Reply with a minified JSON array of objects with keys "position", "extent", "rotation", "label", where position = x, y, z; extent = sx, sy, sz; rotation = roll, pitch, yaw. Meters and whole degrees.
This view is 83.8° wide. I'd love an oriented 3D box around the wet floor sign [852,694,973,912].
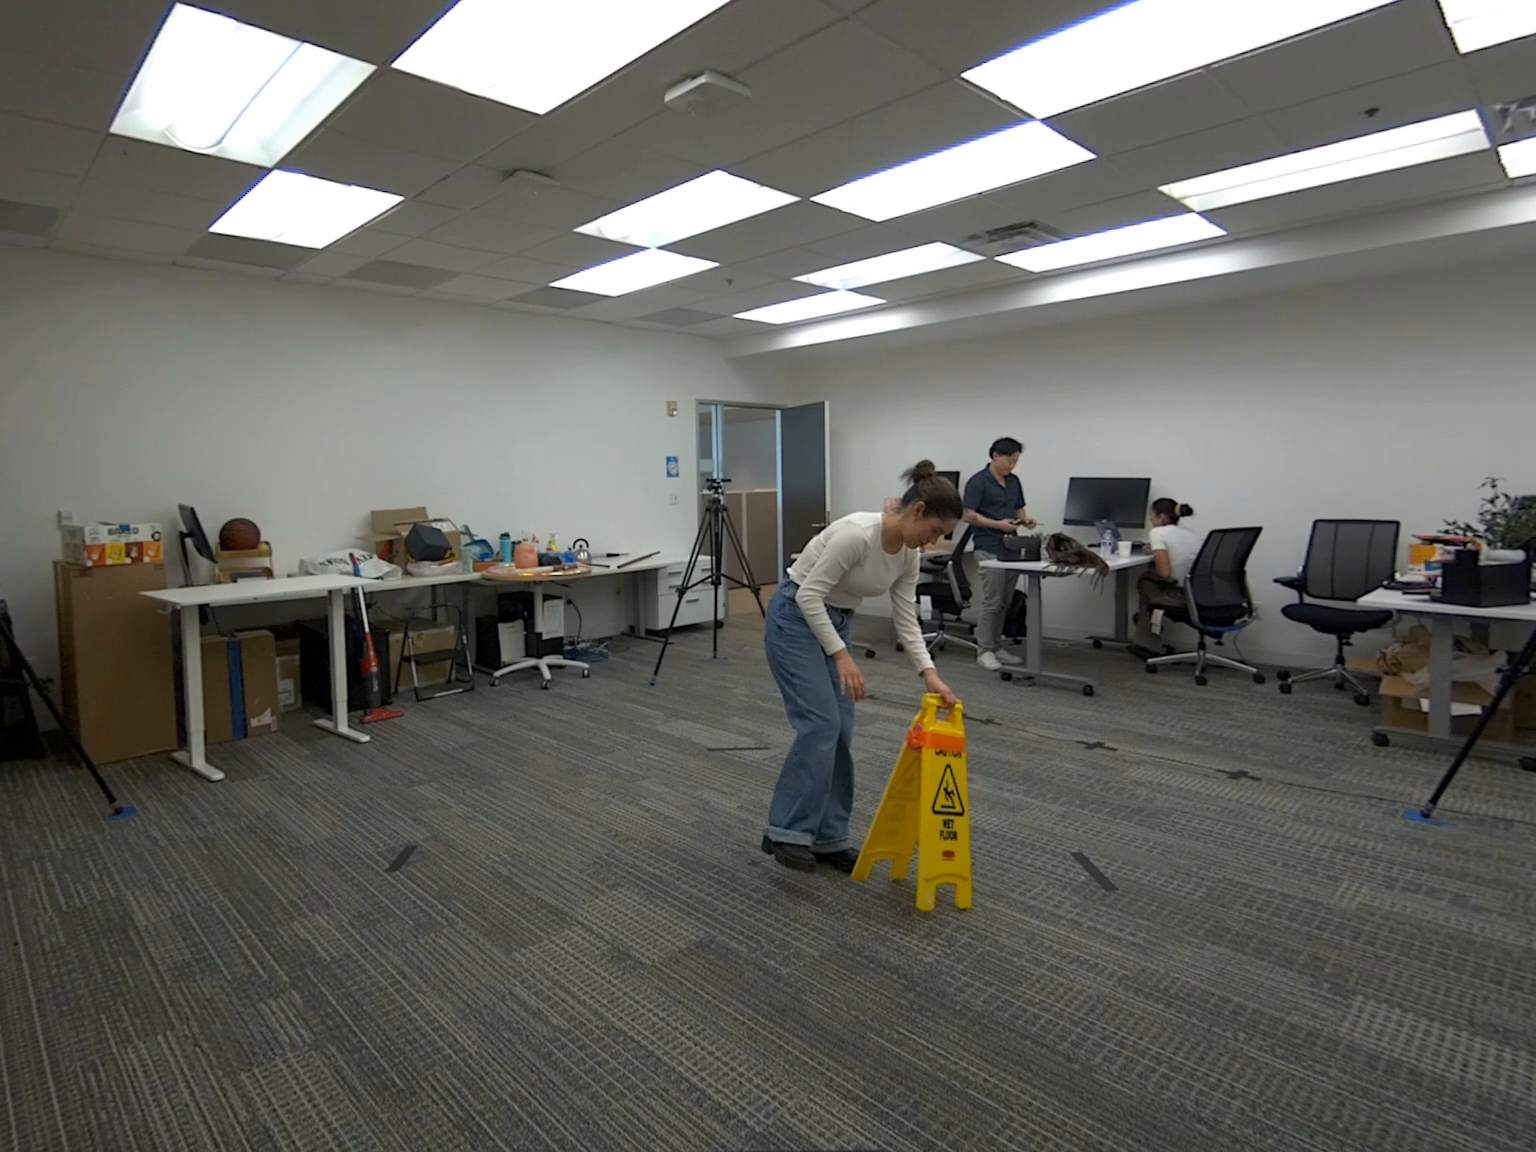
[{"position":[0.526,0.719,2.827],"extent":[0.272,0.650,0.298],"rotation":[19,-10,-40],"label":"wet floor sign"}]
